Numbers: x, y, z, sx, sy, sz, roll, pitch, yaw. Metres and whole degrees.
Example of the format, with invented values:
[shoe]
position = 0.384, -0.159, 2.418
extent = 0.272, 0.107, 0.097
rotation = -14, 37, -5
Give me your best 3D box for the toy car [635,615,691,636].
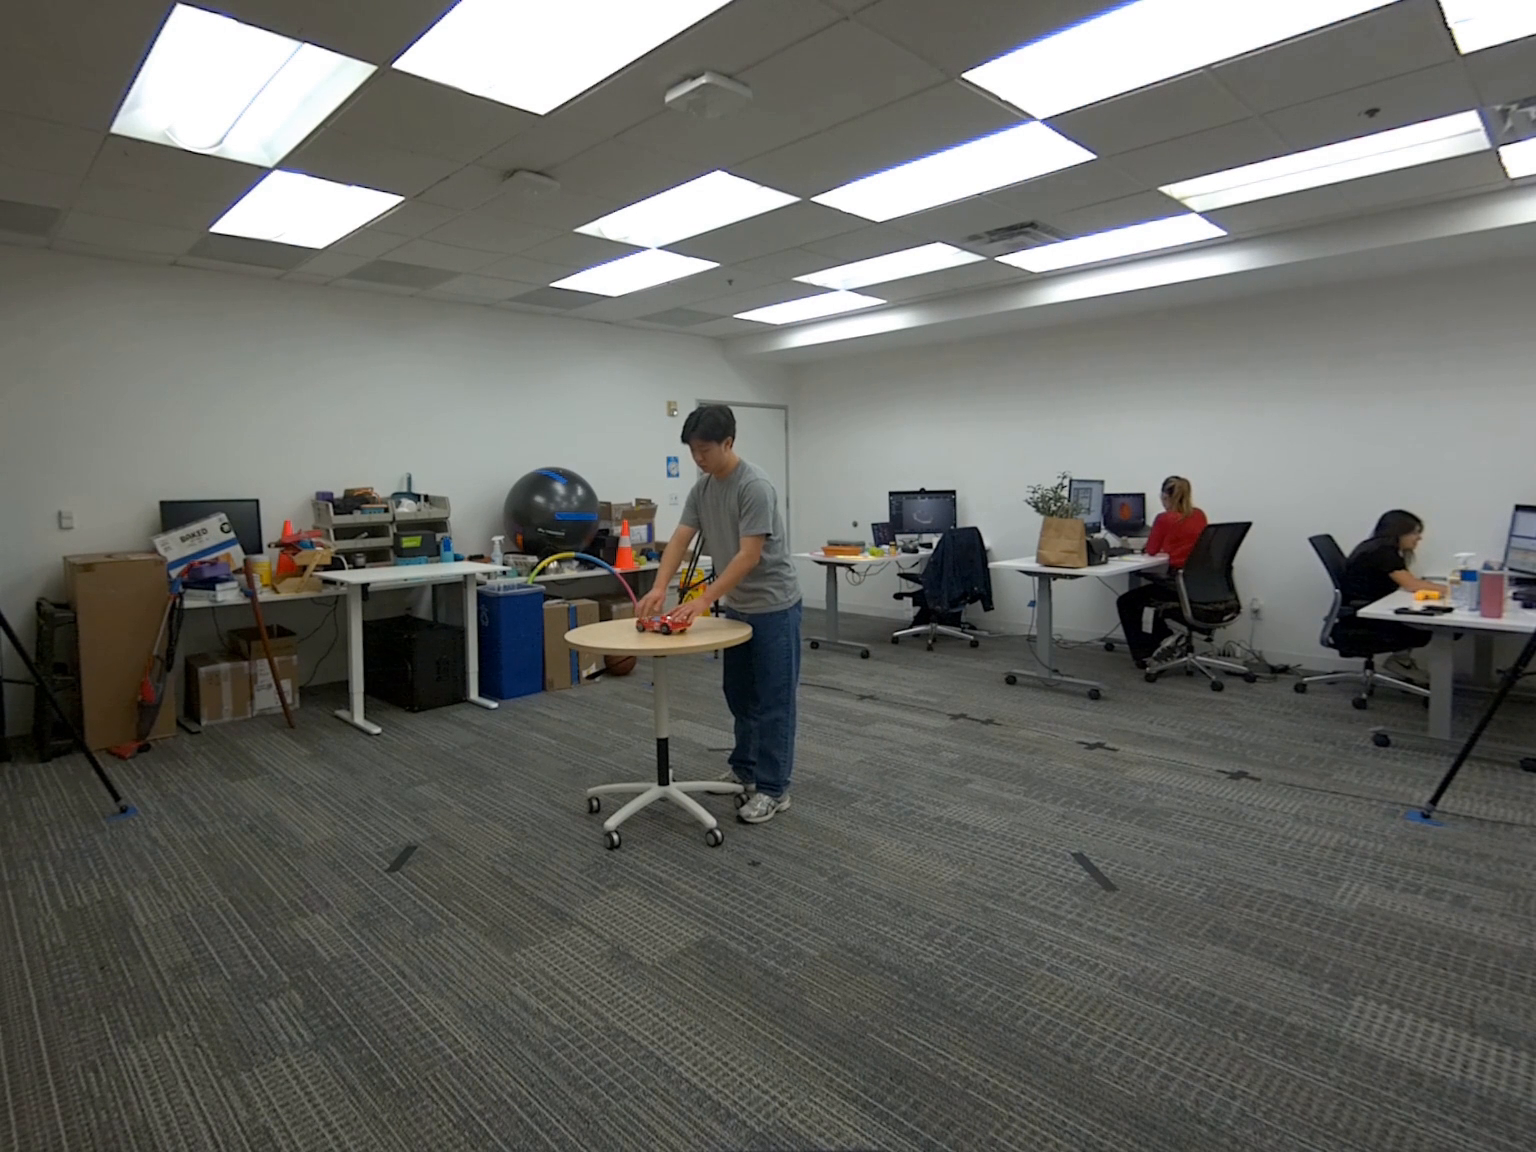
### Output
[toy car]
position = -0.419, 0.199, 3.467
extent = 0.260, 0.083, 0.127
rotation = -11, -1, 40
